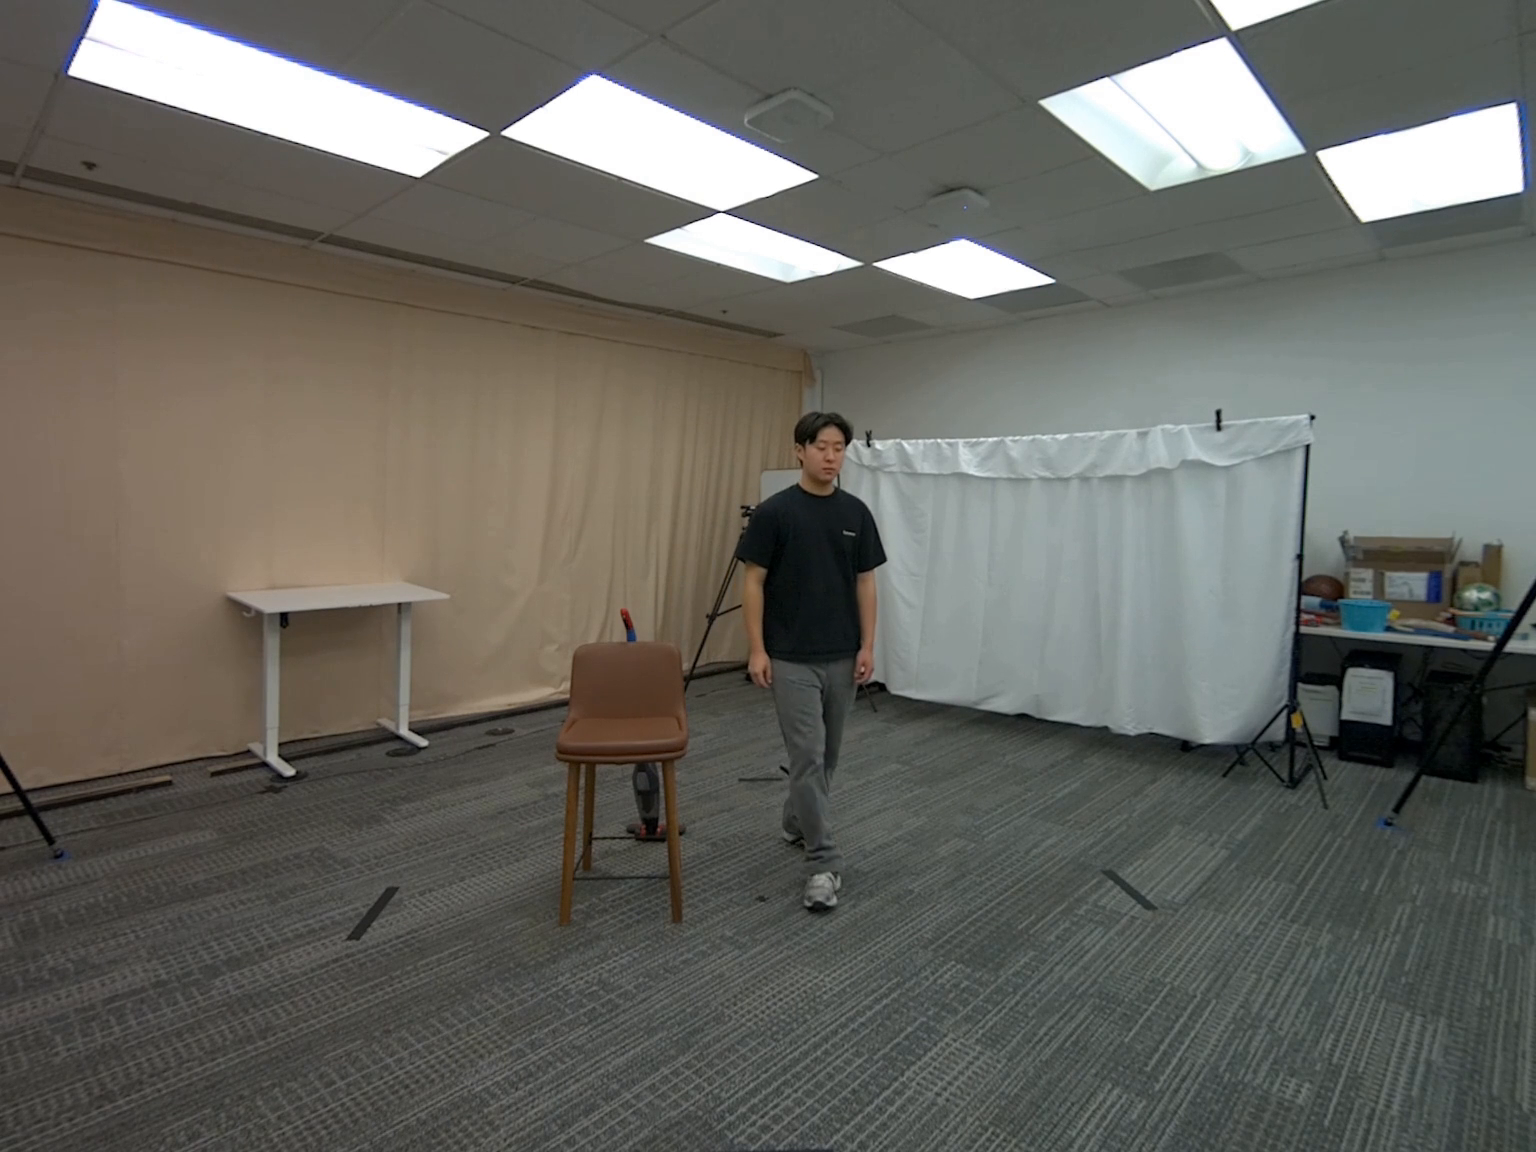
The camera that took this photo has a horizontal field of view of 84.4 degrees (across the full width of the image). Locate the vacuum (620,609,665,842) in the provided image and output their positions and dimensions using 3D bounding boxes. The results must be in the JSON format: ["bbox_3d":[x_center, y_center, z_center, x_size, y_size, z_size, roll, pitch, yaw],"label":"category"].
[{"bbox_3d":[-0.512,0.613,3.395,0.253,1.036,0.145,-2,20,2],"label":"vacuum"}]
